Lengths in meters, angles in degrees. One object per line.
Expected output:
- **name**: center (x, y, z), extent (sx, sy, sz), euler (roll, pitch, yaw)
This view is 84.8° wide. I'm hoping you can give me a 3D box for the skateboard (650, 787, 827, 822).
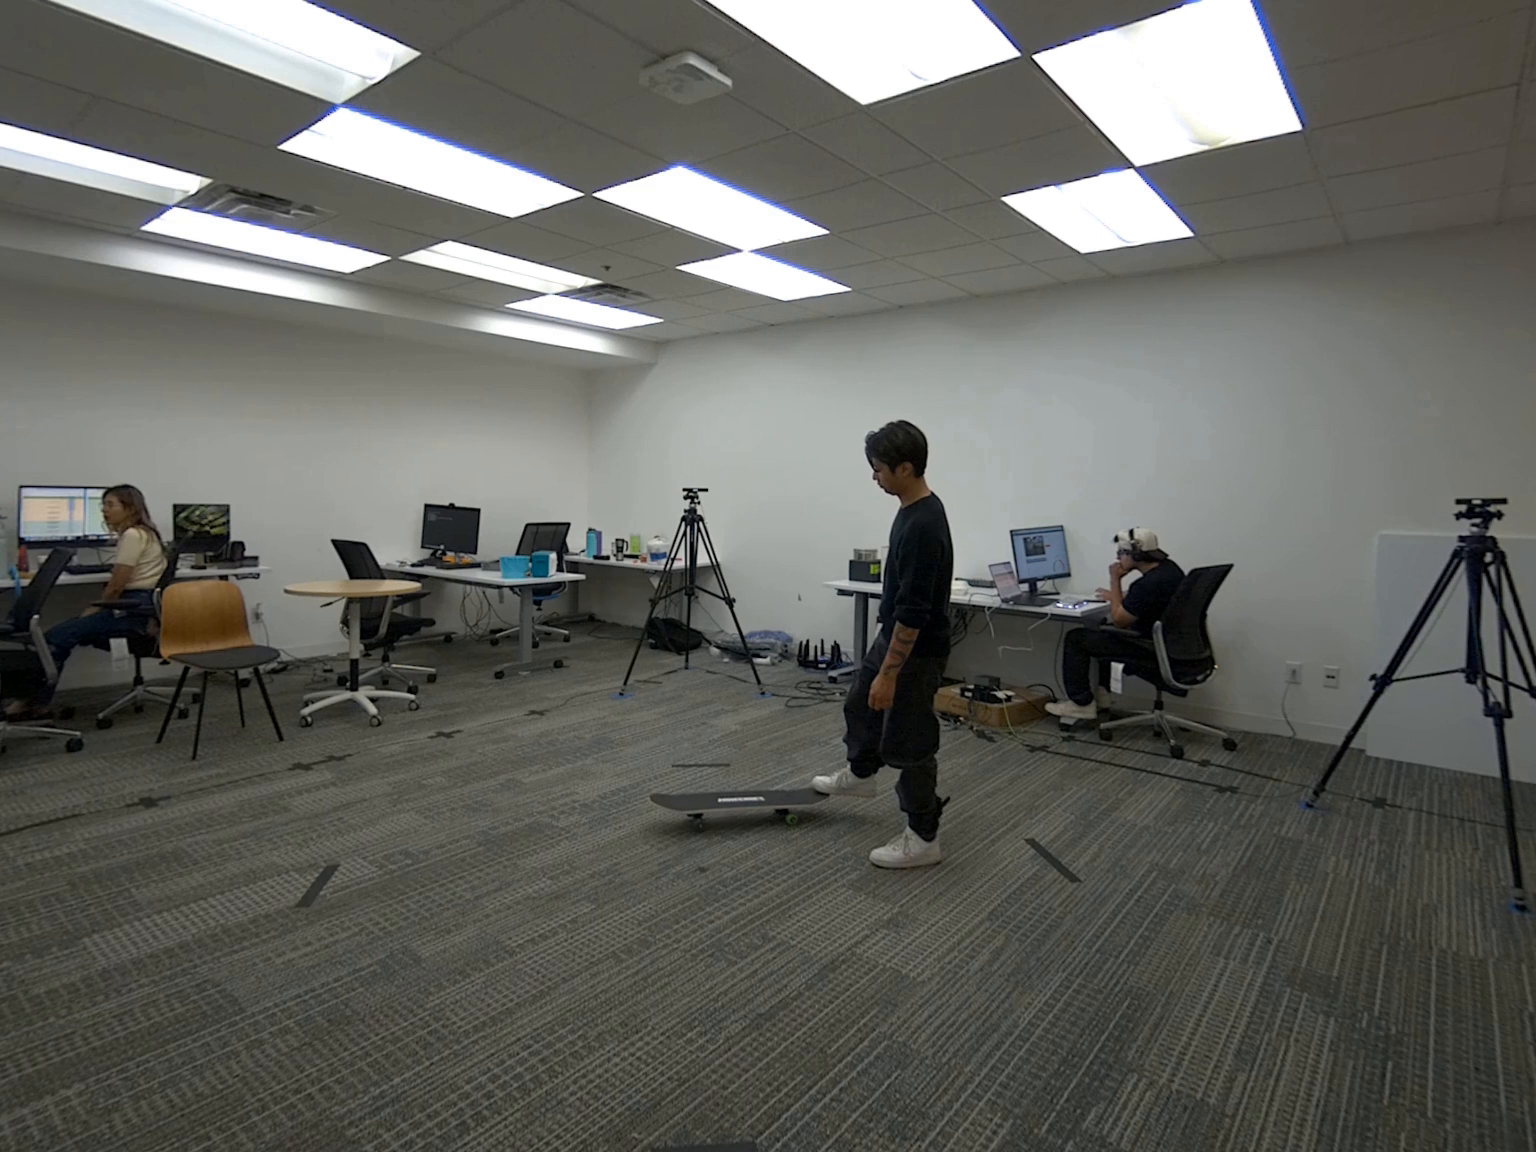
- **skateboard**: center (-0.128, 0.967, 3.566), extent (0.772, 0.110, 0.197), euler (2, 5, -15)
